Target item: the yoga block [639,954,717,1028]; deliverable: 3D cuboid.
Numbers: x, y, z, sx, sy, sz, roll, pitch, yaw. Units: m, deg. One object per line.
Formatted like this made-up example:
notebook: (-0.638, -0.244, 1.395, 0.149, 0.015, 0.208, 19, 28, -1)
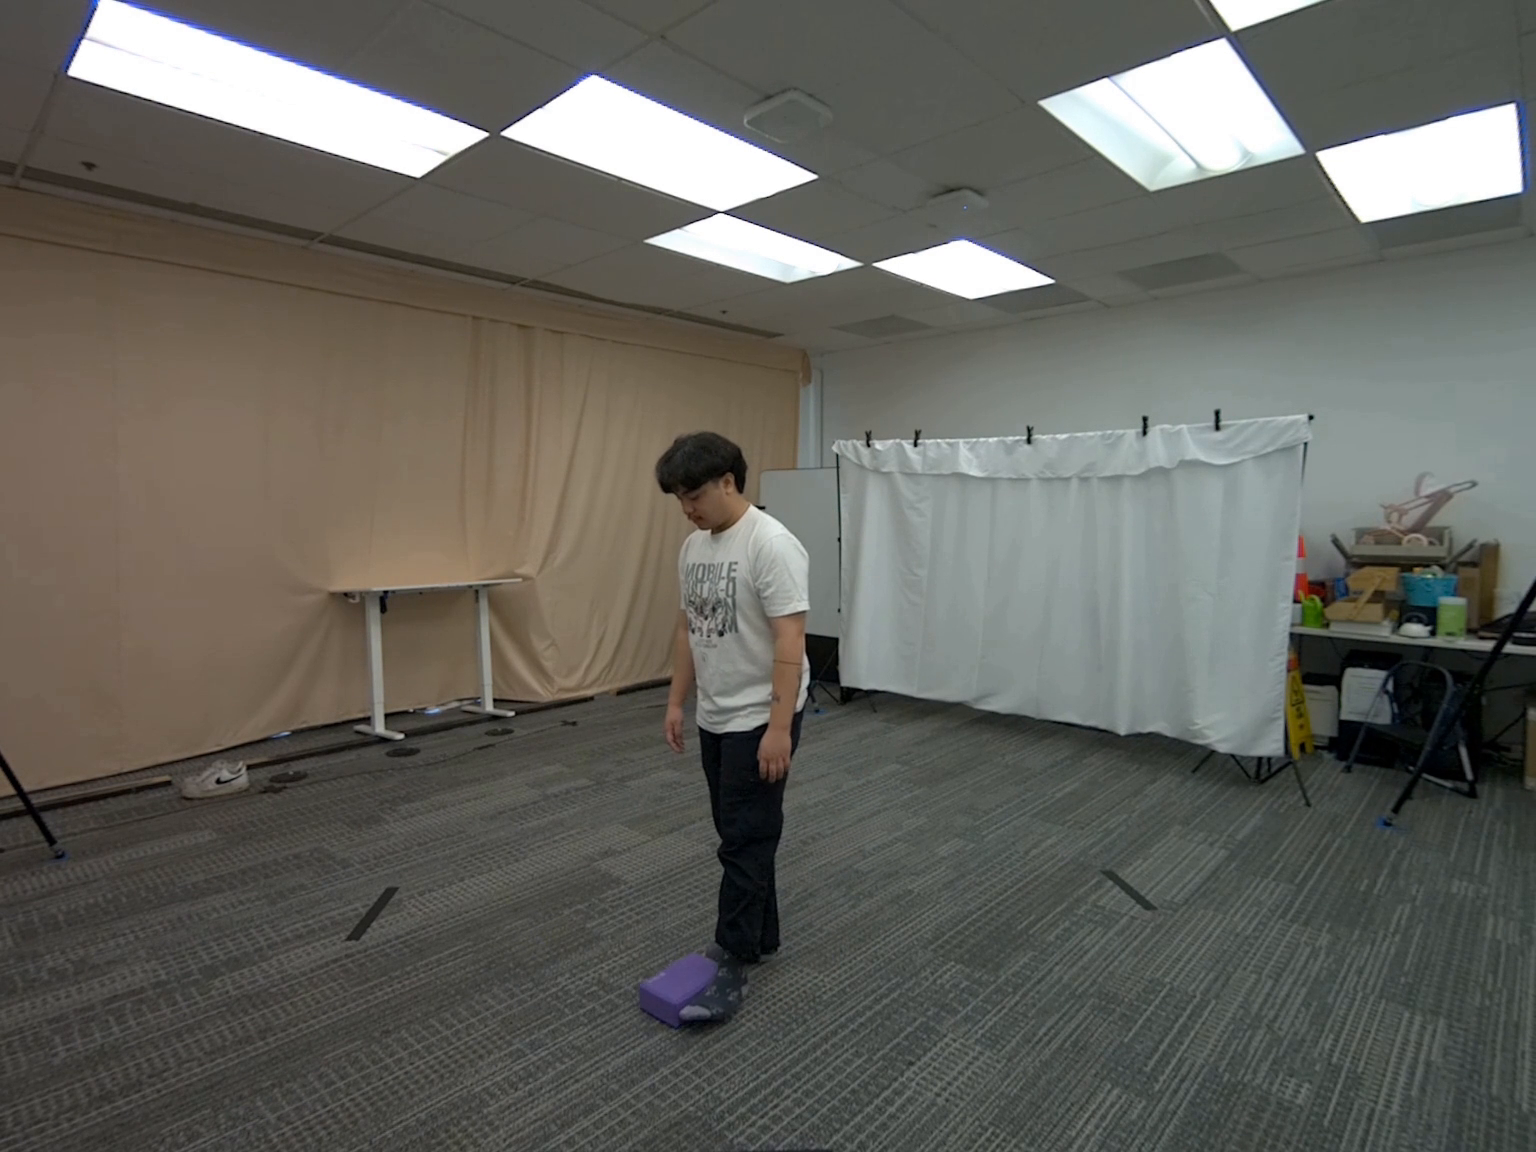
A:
yoga block: (-0.234, 1.157, 2.369, 0.154, 0.076, 0.222, 3, 6, 38)
